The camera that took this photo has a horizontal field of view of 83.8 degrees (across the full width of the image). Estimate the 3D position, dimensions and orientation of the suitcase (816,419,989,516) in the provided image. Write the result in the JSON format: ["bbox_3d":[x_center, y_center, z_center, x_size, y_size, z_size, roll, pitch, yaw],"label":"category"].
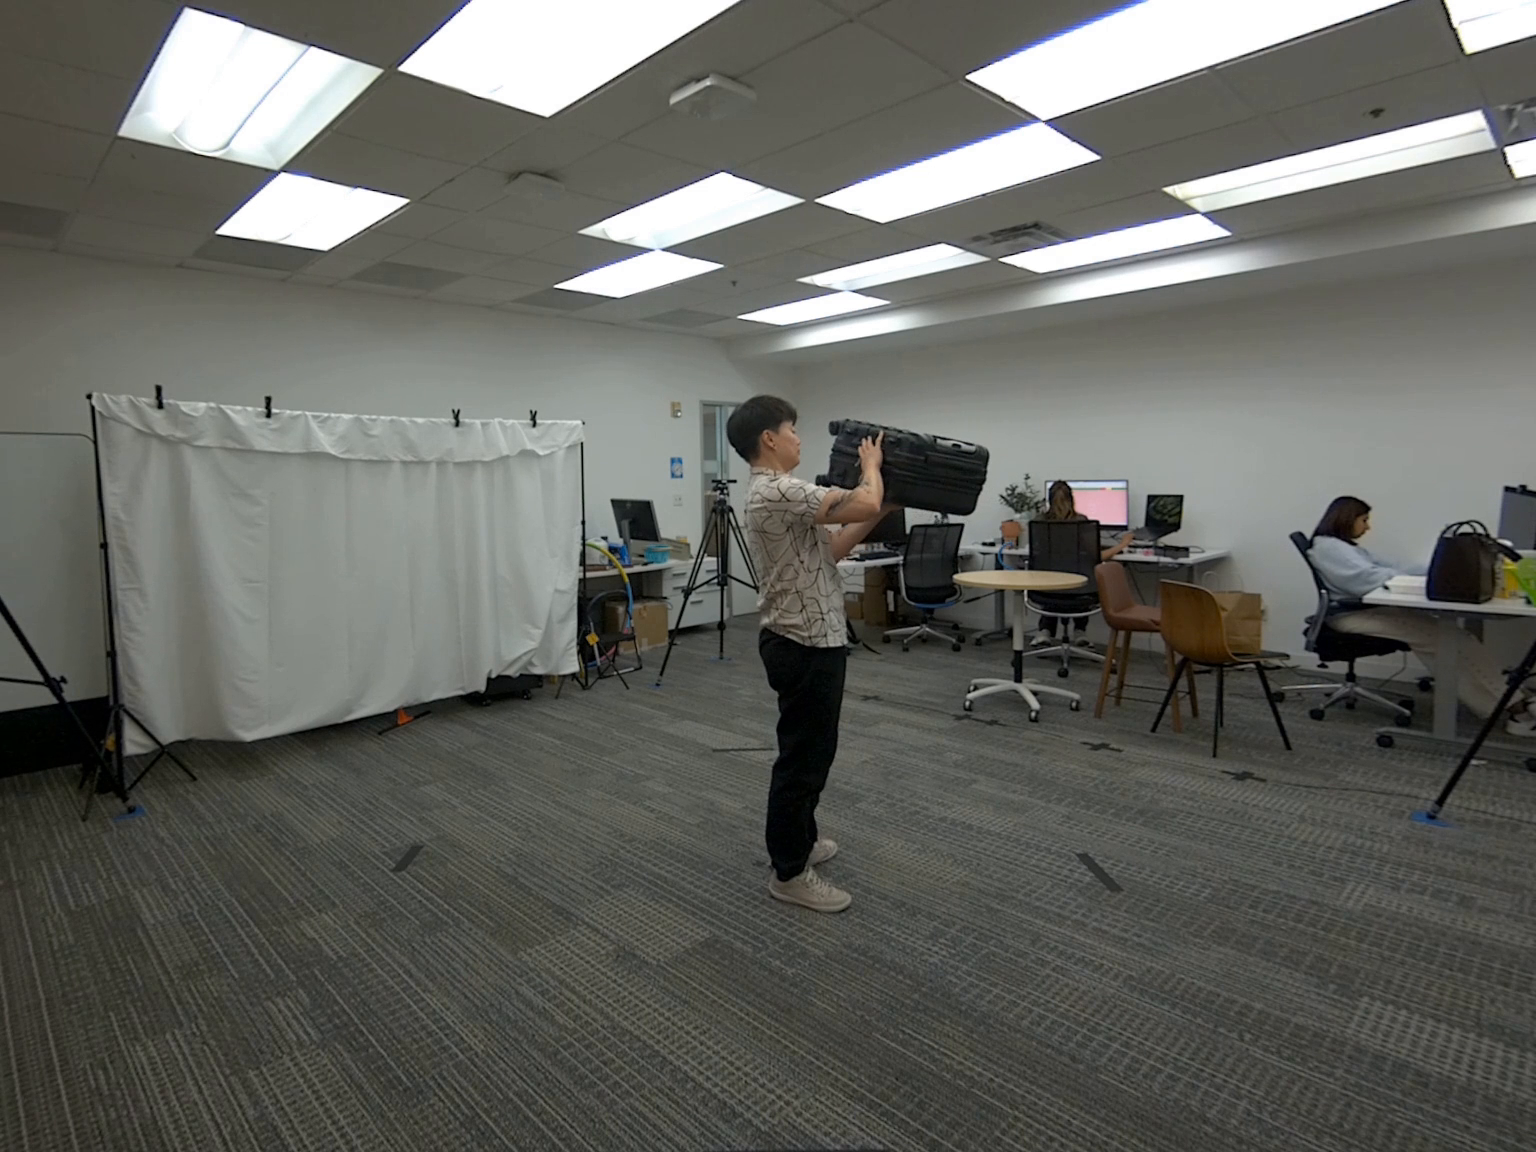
[{"bbox_3d":[0.472,-0.379,2.964,0.366,0.247,0.566,8,9,-27],"label":"suitcase"}]
